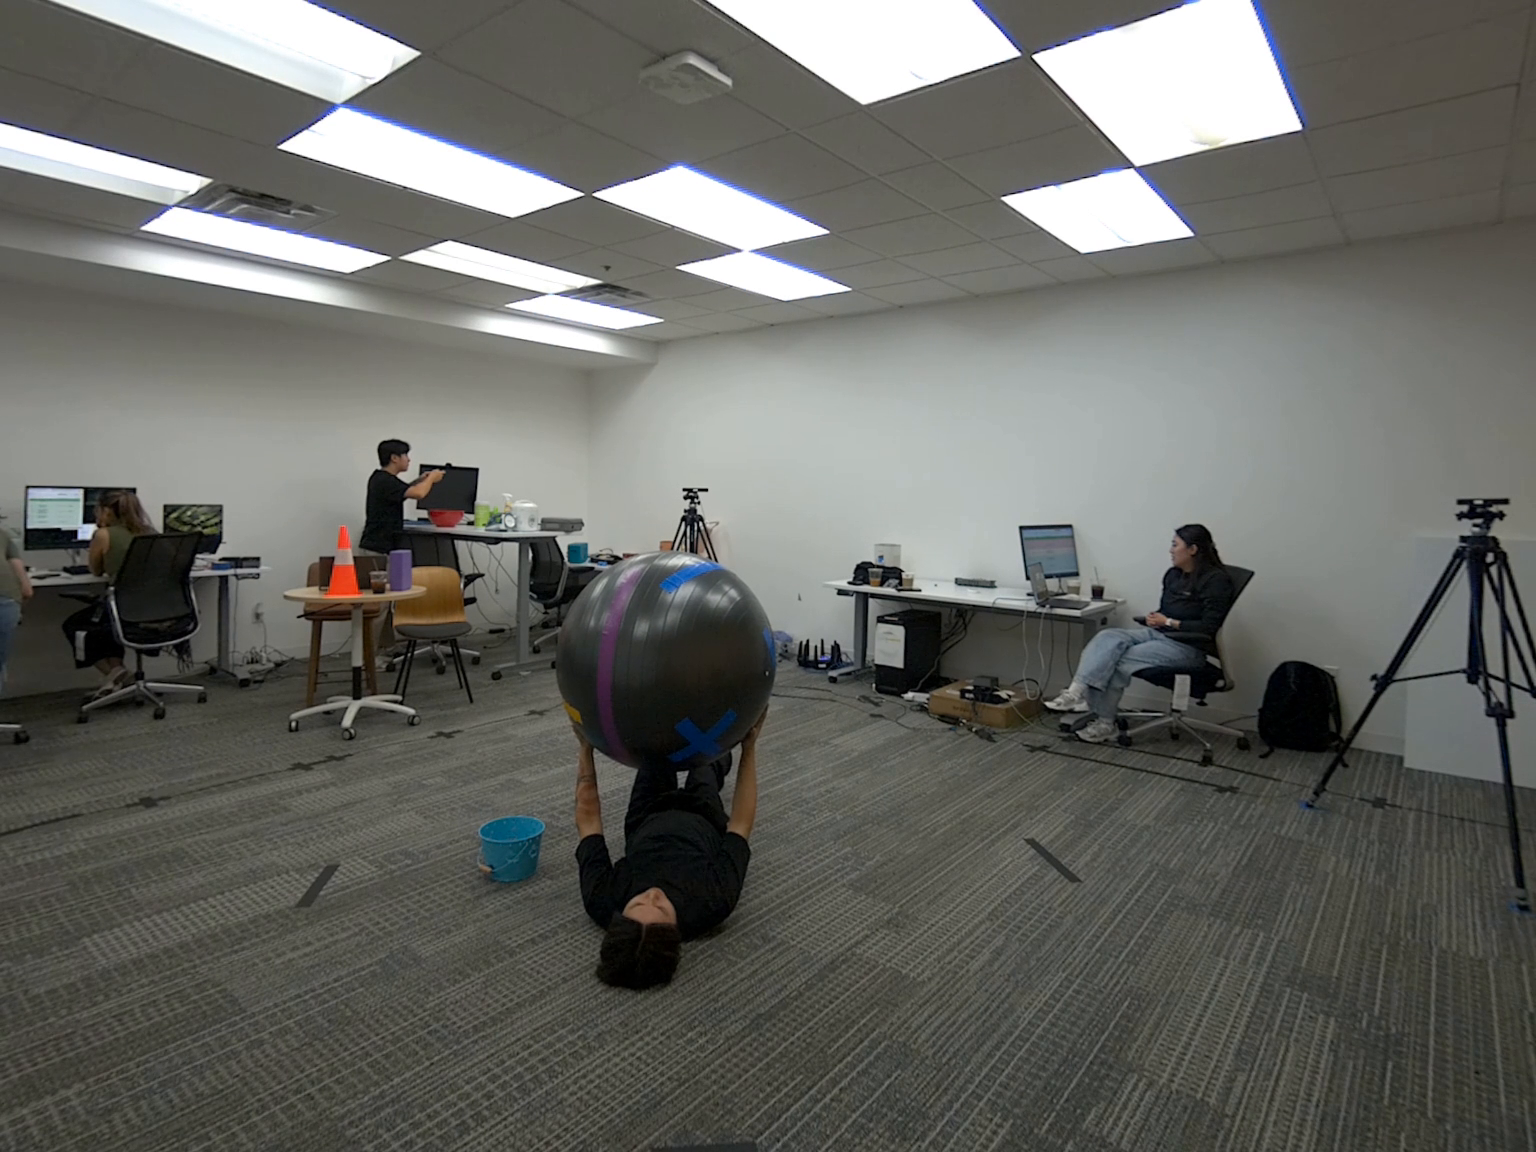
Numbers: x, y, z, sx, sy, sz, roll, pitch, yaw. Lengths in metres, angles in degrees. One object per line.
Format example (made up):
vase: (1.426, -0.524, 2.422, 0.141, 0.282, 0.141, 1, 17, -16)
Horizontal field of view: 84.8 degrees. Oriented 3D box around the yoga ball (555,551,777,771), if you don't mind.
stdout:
yoga ball: (-0.360, 0.296, 2.951, 0.757, 0.755, 0.762, 1, 4, -2)
